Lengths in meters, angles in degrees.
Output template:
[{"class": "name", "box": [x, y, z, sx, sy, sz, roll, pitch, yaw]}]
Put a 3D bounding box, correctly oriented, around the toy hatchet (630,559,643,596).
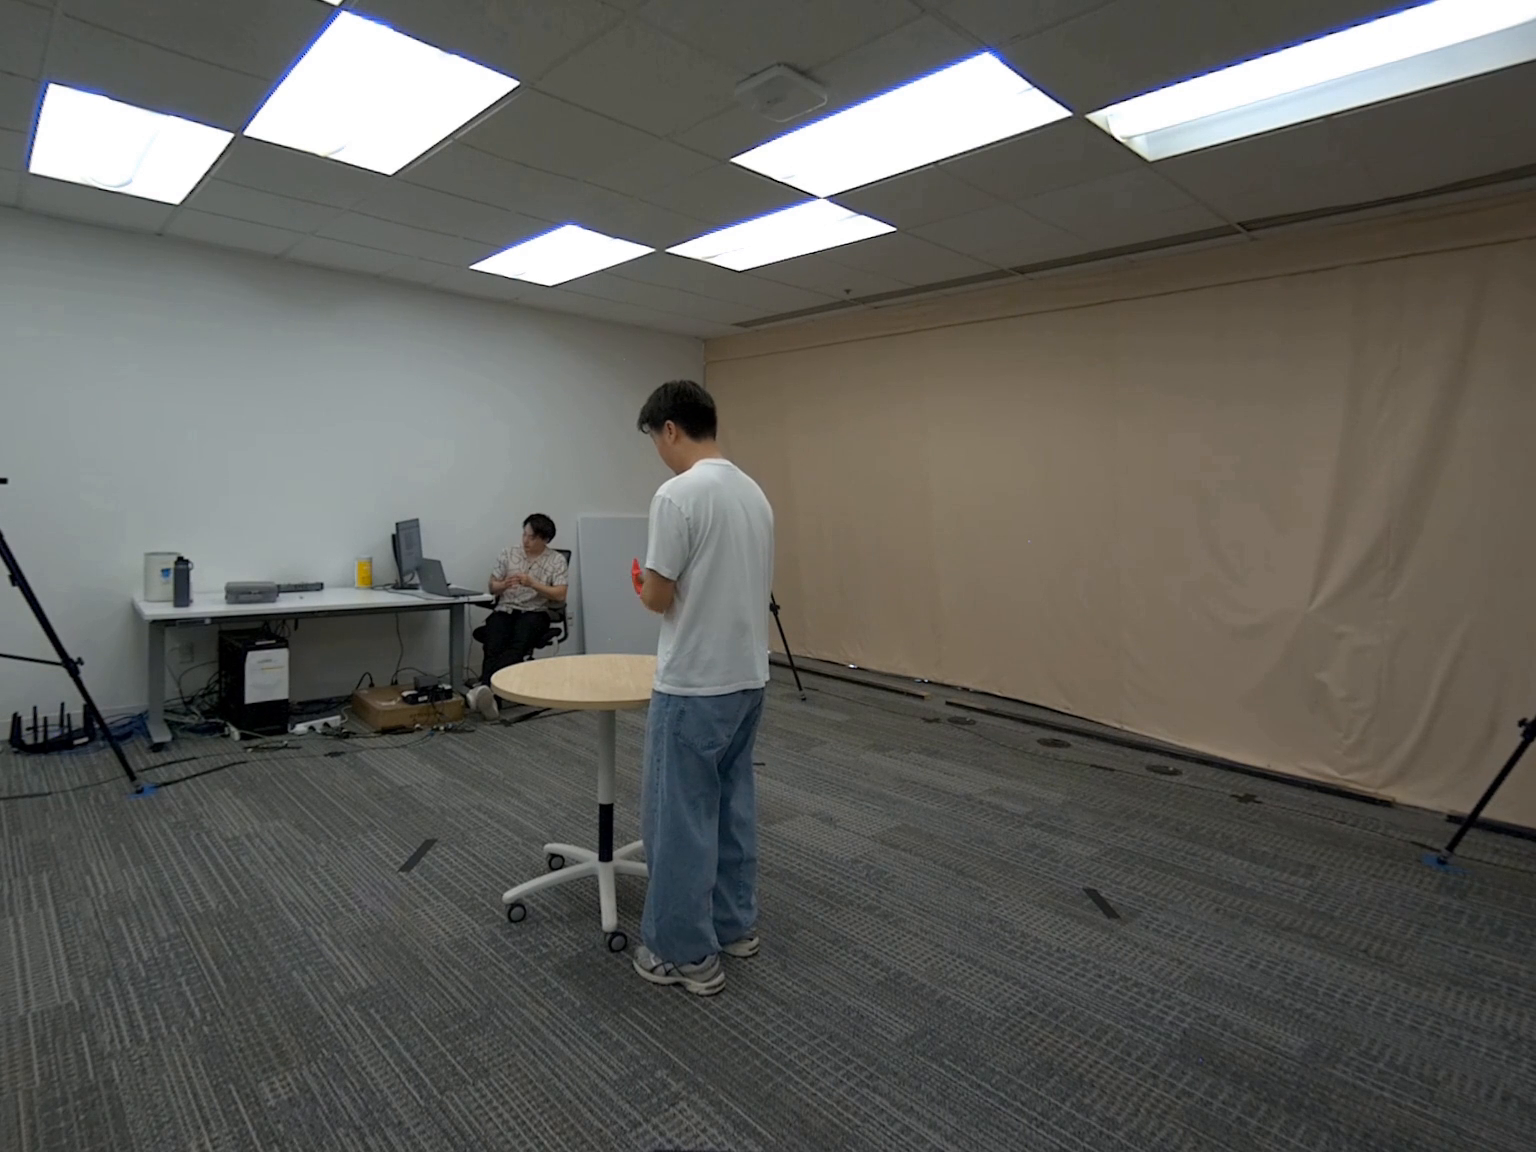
[{"class": "toy hatchet", "box": [-0.394, 0.078, 2.747, 0.029, 0.129, 0.279, -8, 37, -28]}]
